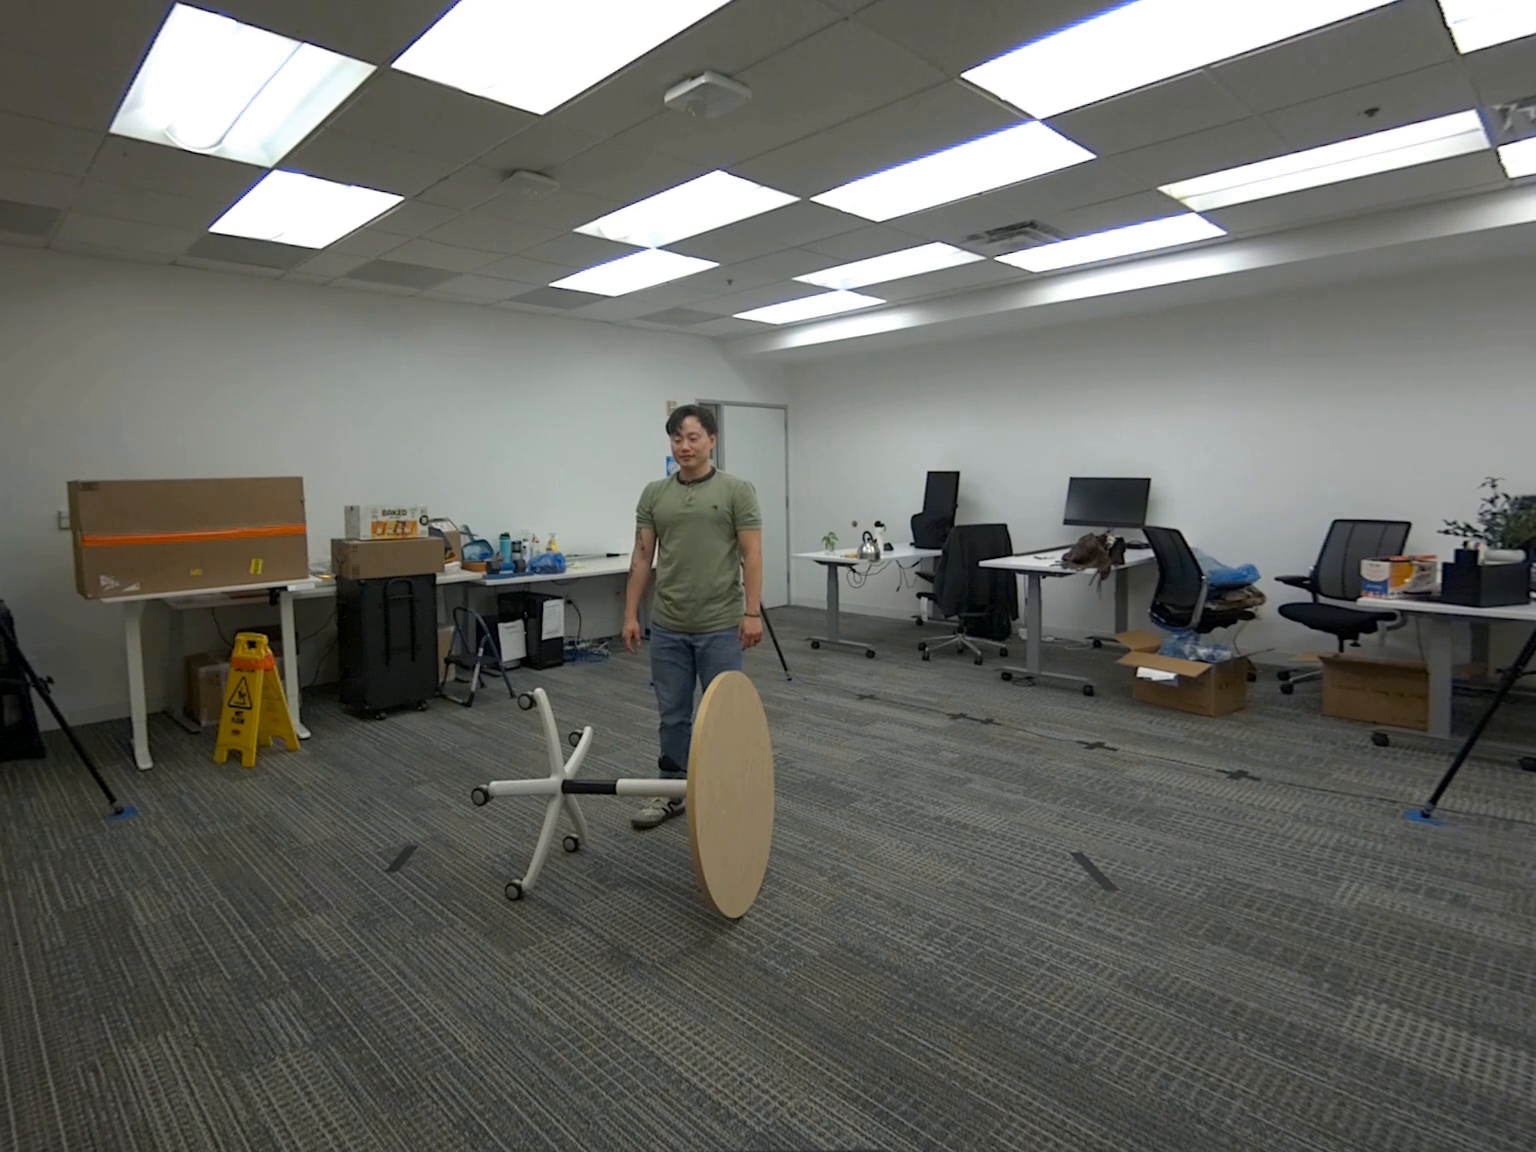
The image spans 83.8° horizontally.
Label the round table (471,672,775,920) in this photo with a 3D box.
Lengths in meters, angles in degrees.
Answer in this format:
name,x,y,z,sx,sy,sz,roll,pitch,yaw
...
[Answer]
name,x,y,z,sx,sy,sz,roll,pitch,yaw
round table,-0.470,0.730,2.922,0.807,0.762,0.754,-5,3,18
